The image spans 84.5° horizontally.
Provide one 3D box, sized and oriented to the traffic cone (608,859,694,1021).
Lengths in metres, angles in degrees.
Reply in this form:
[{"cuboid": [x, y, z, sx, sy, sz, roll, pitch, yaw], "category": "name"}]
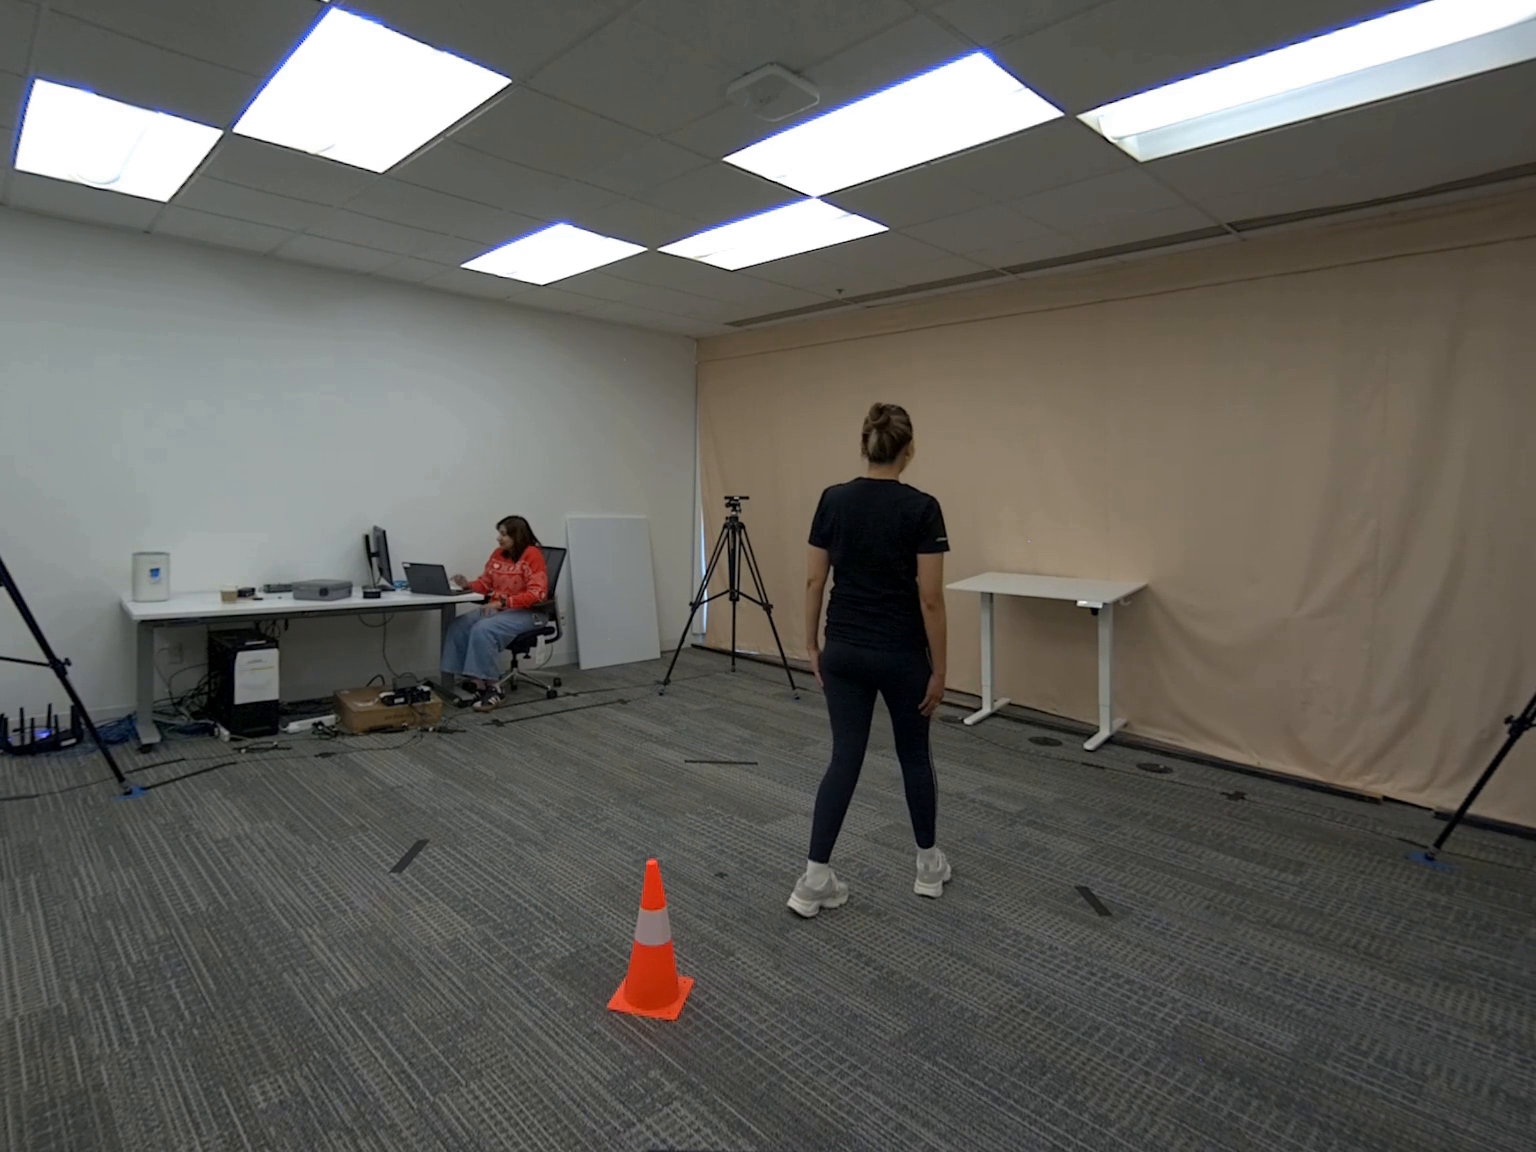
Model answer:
[{"cuboid": [-0.326, 0.987, 2.336, 0.206, 0.382, 0.203, 2, 4, 15], "category": "traffic cone"}]
